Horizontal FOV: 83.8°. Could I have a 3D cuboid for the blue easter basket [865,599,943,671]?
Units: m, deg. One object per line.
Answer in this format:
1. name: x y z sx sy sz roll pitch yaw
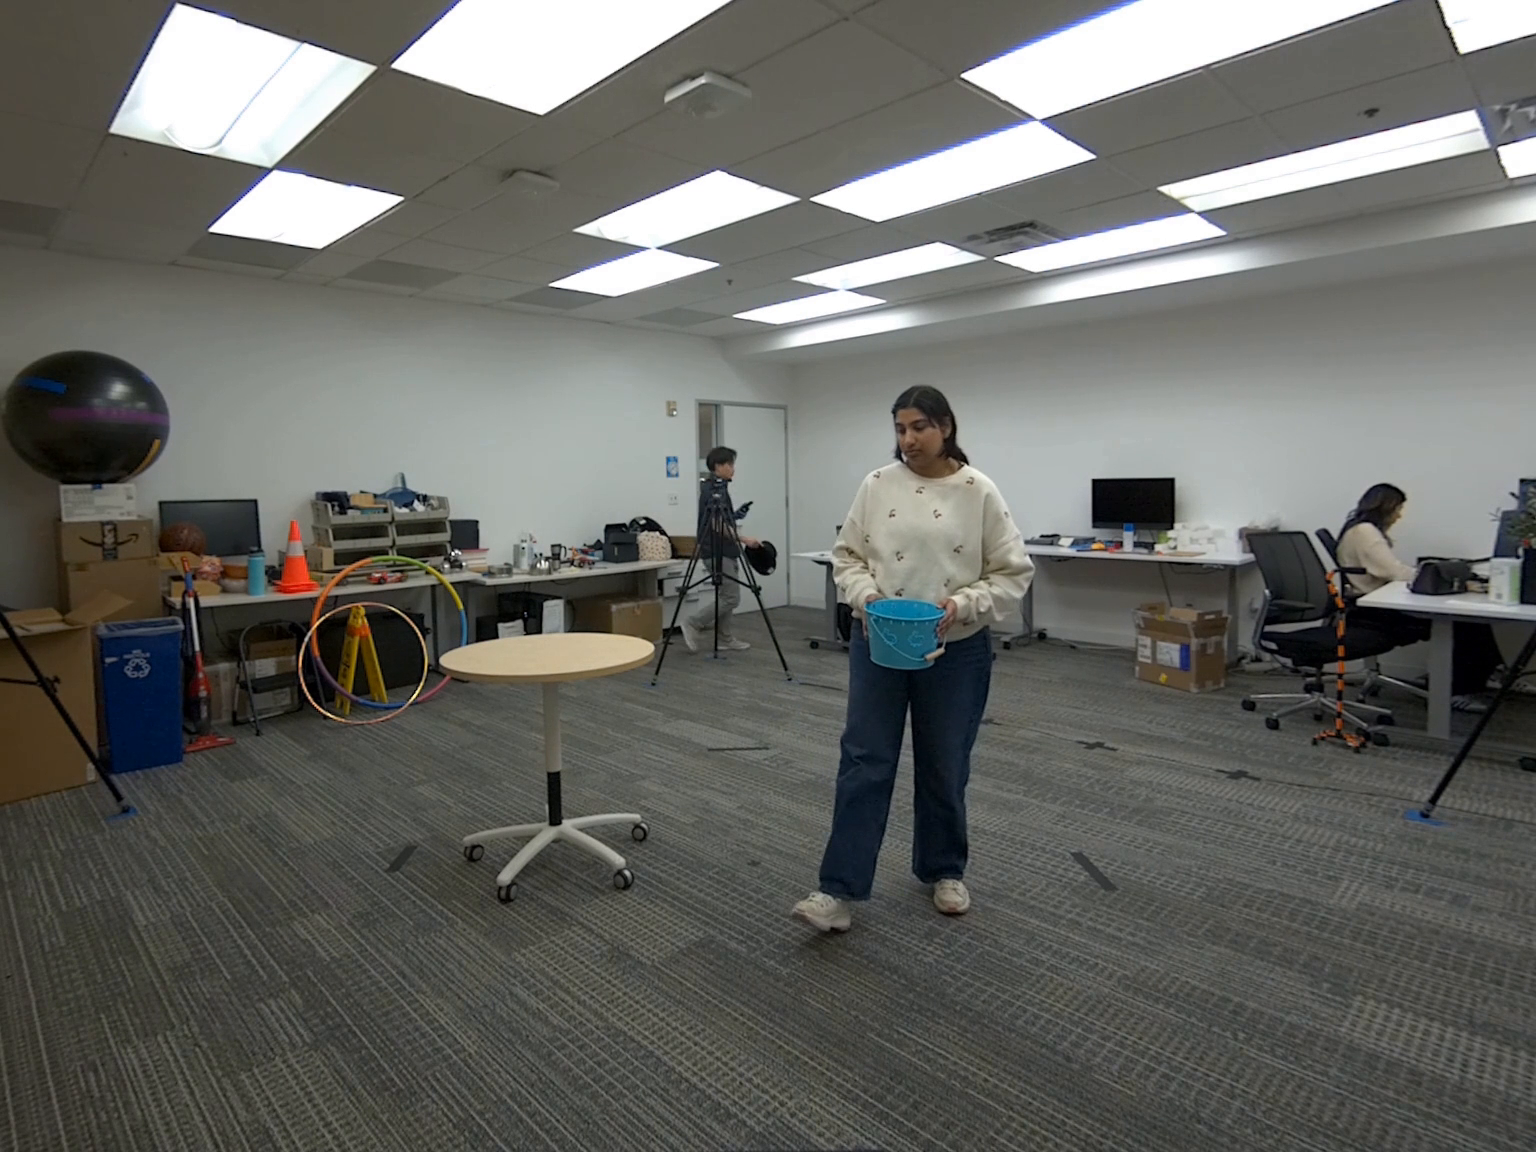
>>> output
1. blue easter basket: 0.404 0.172 2.453 0.243 0.154 0.246 -1 11 -1
